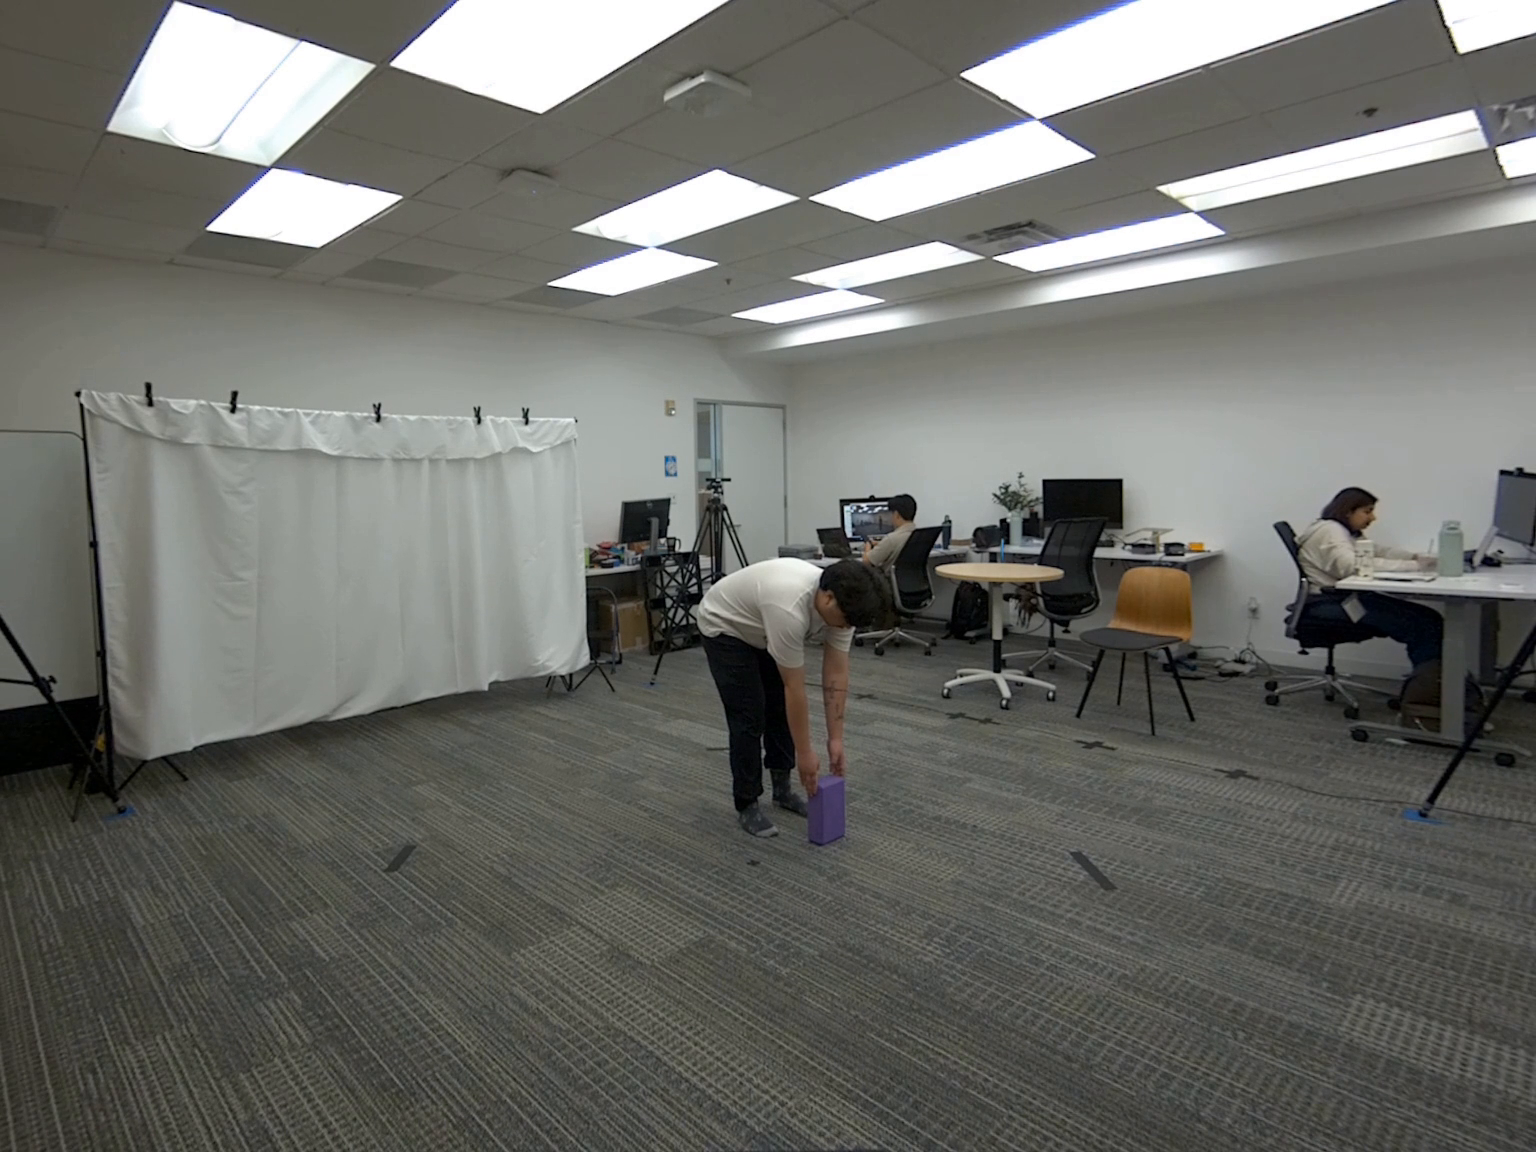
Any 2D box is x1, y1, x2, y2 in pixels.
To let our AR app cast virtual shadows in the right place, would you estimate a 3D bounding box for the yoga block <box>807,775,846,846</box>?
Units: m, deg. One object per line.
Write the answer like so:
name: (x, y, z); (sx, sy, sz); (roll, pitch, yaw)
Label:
yoga block: (0.230, 0.905, 3.305); (0.078, 0.229, 0.145); (0, 2, 44)
